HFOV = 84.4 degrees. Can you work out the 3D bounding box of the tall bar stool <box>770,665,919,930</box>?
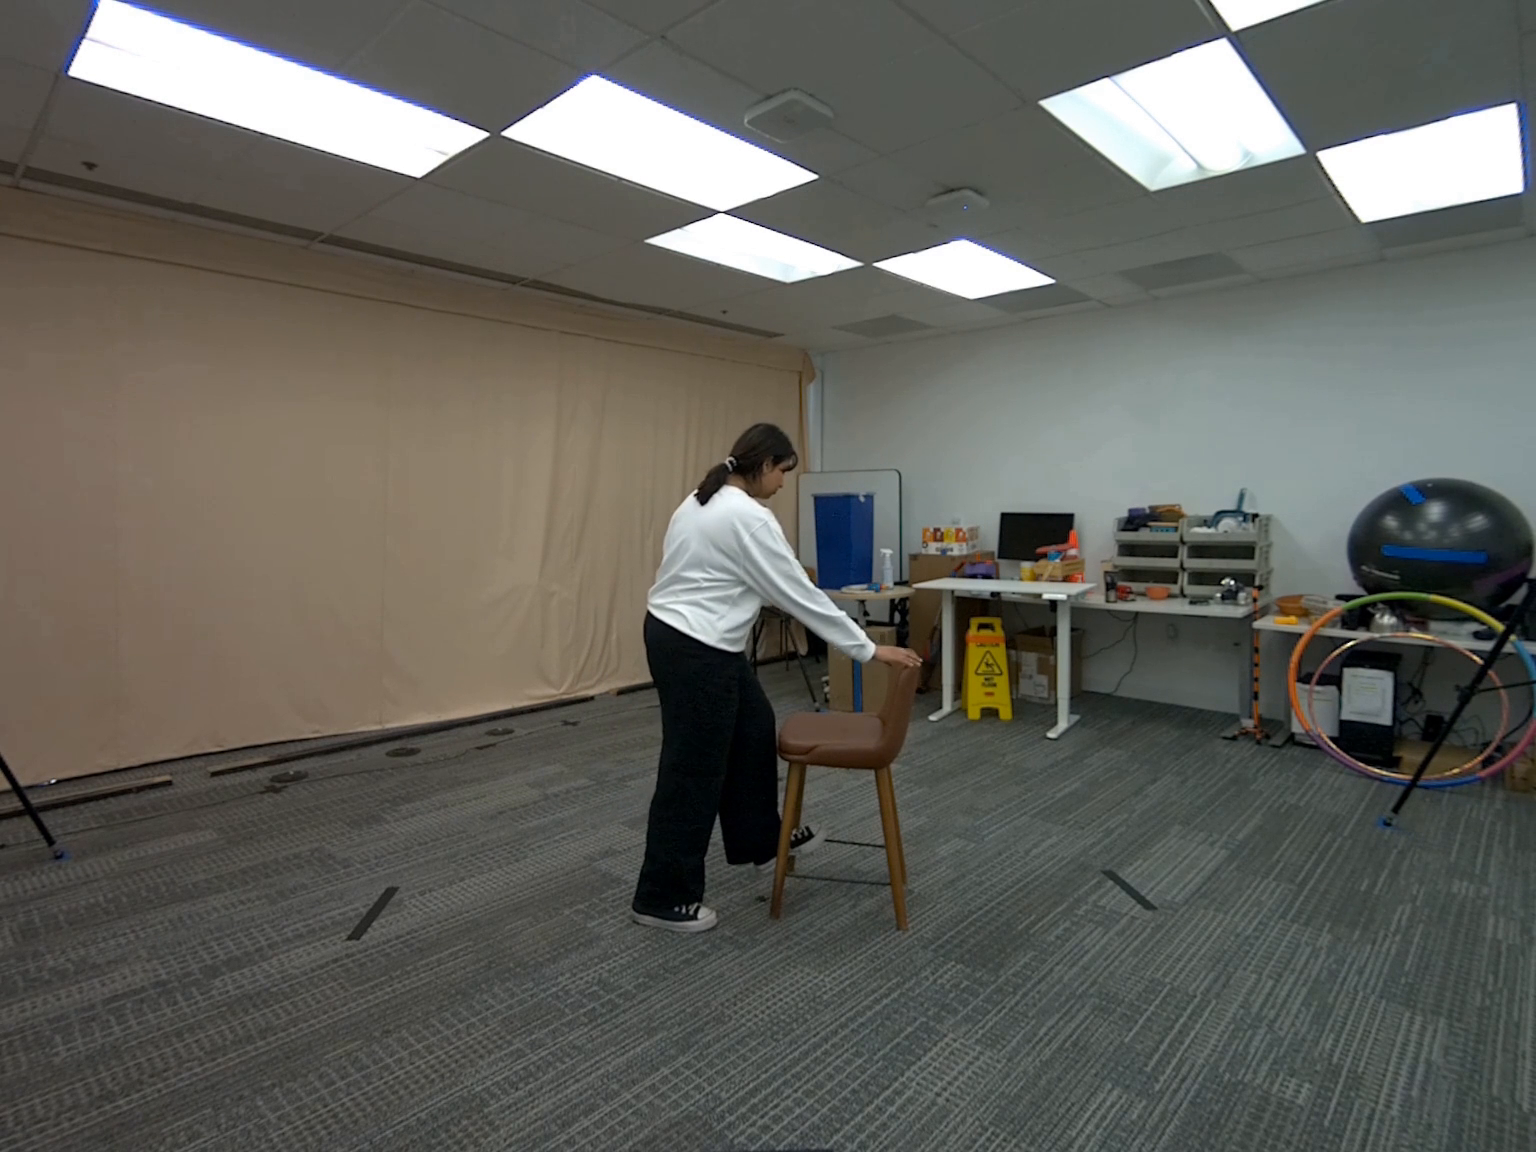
[{"bbox_3d":[0.277,0.711,2.956,0.474,0.887,0.451,3,4,11],"label":"tall bar stool"}]
